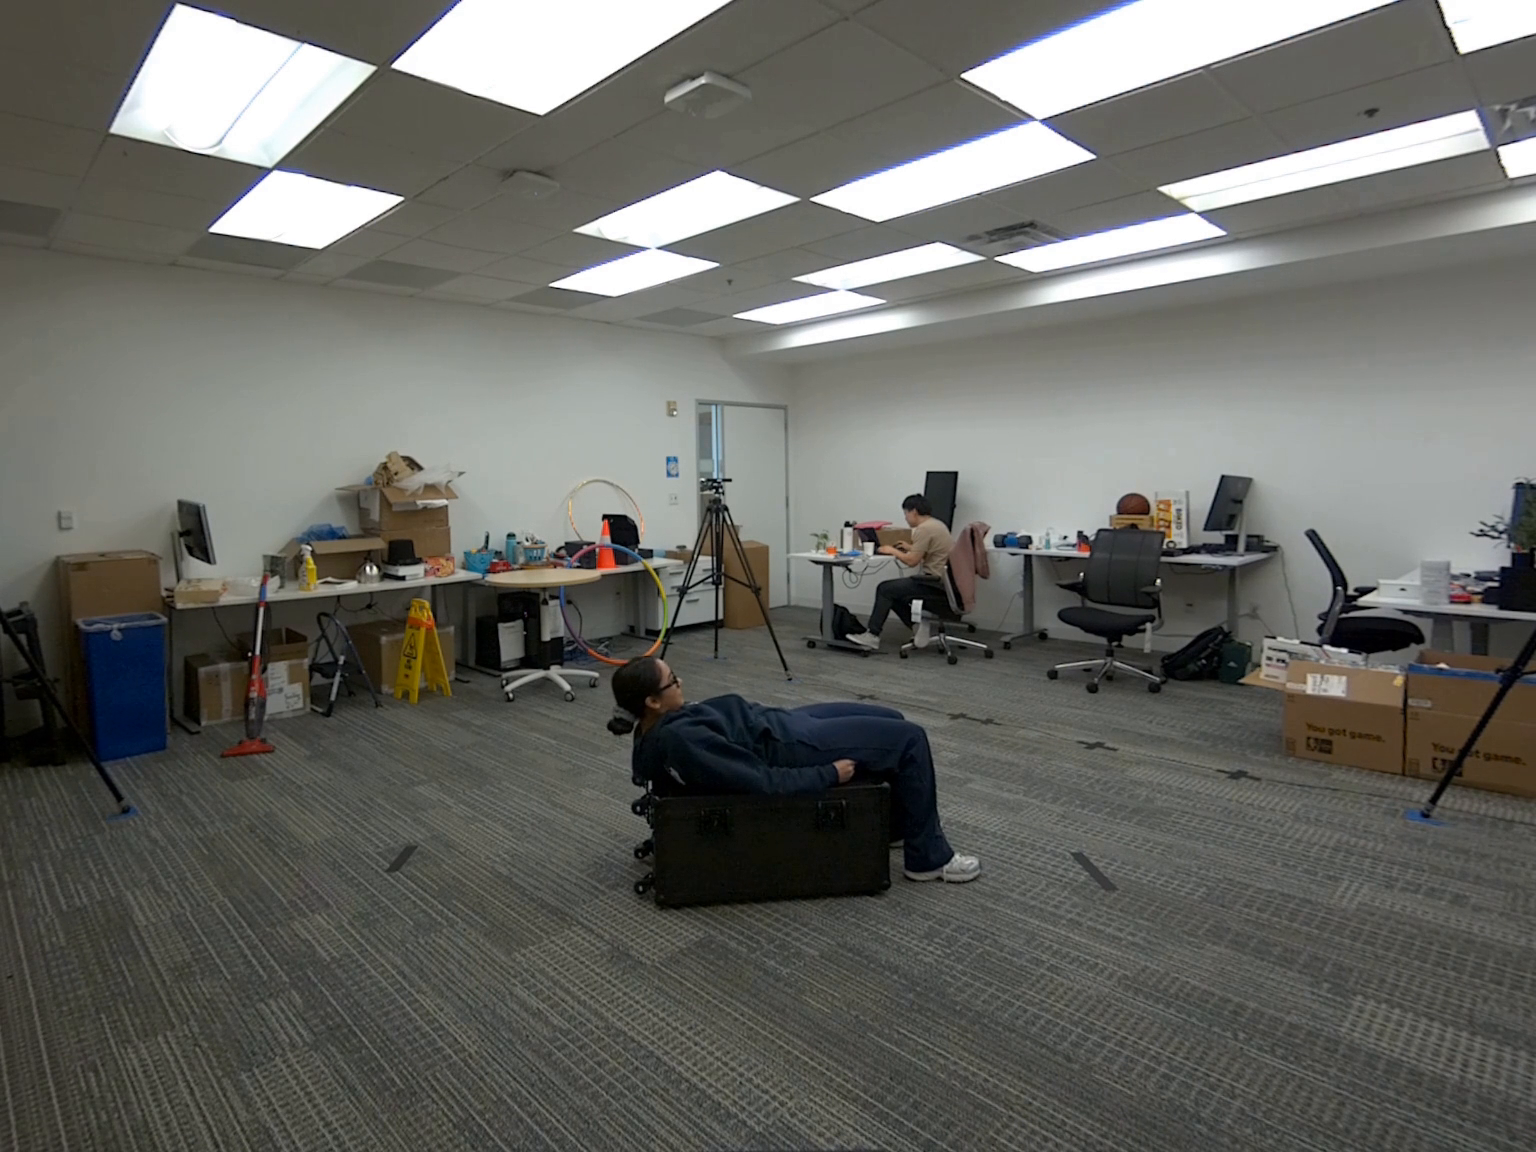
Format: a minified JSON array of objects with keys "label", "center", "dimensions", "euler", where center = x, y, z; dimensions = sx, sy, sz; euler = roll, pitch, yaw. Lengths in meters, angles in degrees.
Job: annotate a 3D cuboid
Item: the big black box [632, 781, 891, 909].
[{"label":"big black box","center":[-0.055,0.857,3.028],"dimensions":[0.856,0.394,0.527],"euler":[-1,7,-7]}]
